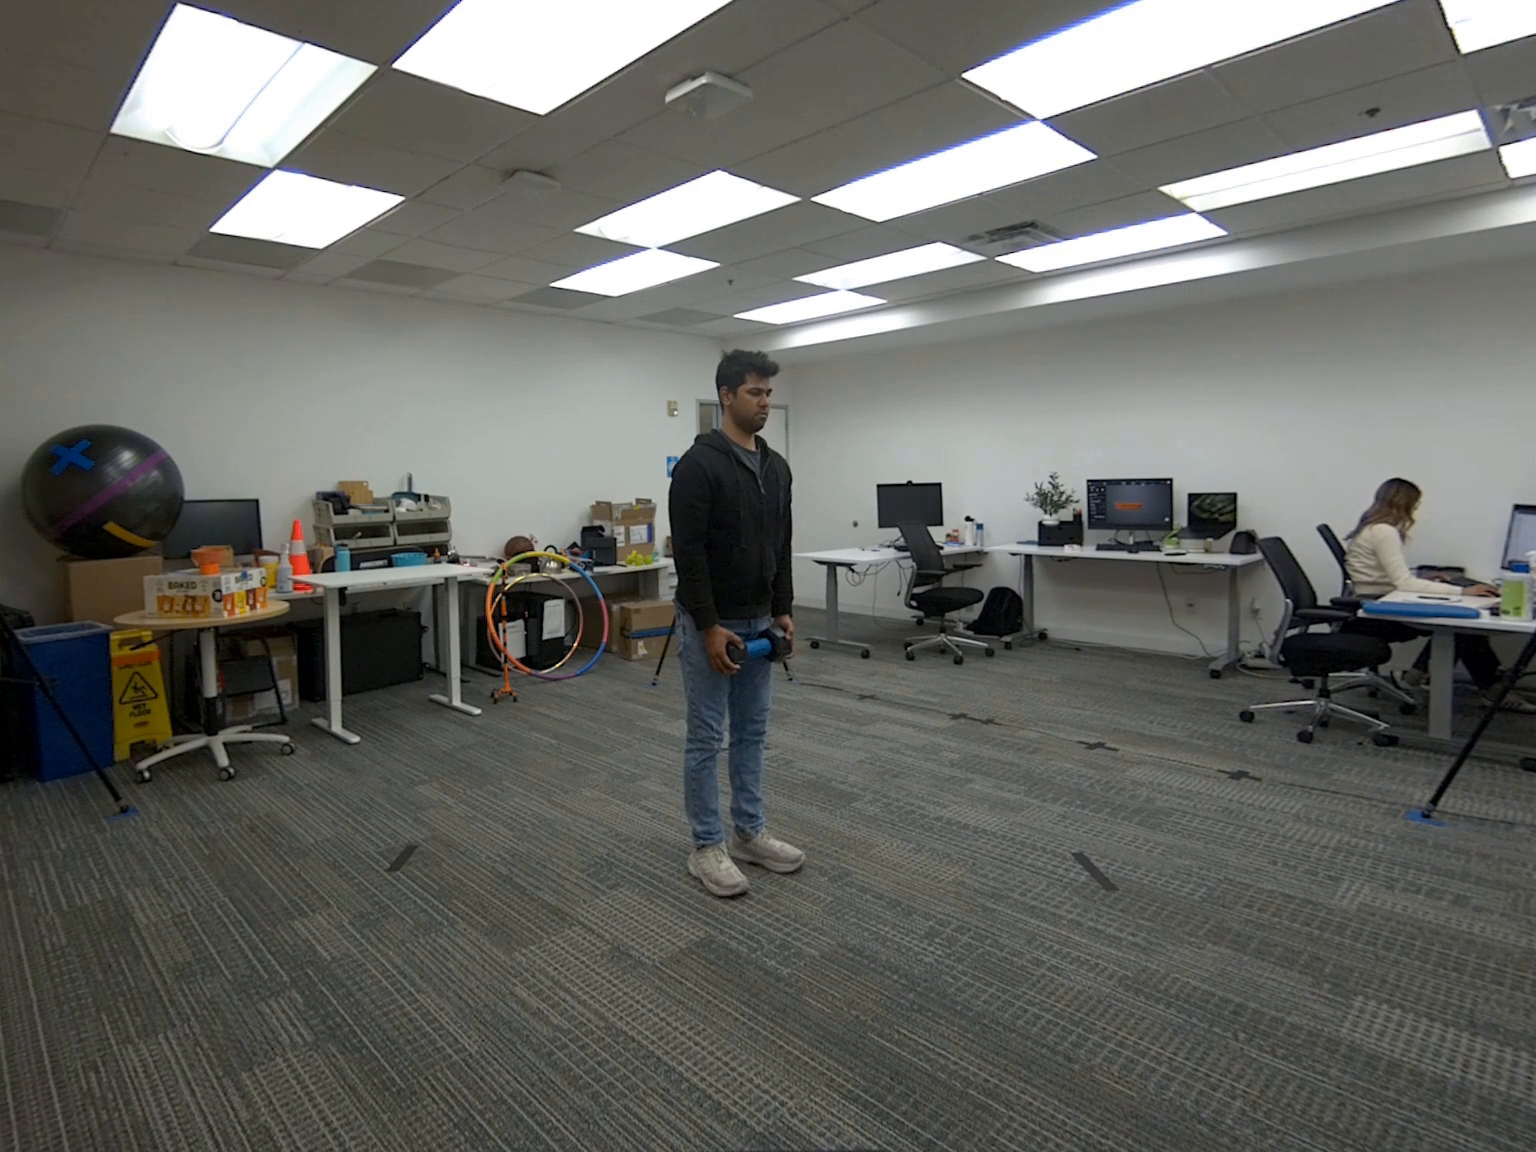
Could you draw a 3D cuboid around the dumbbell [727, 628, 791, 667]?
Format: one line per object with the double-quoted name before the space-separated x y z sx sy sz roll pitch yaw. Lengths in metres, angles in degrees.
"dumbbell" -0.061 0.253 2.929 0.286 0.112 0.123 -9 -29 -41
